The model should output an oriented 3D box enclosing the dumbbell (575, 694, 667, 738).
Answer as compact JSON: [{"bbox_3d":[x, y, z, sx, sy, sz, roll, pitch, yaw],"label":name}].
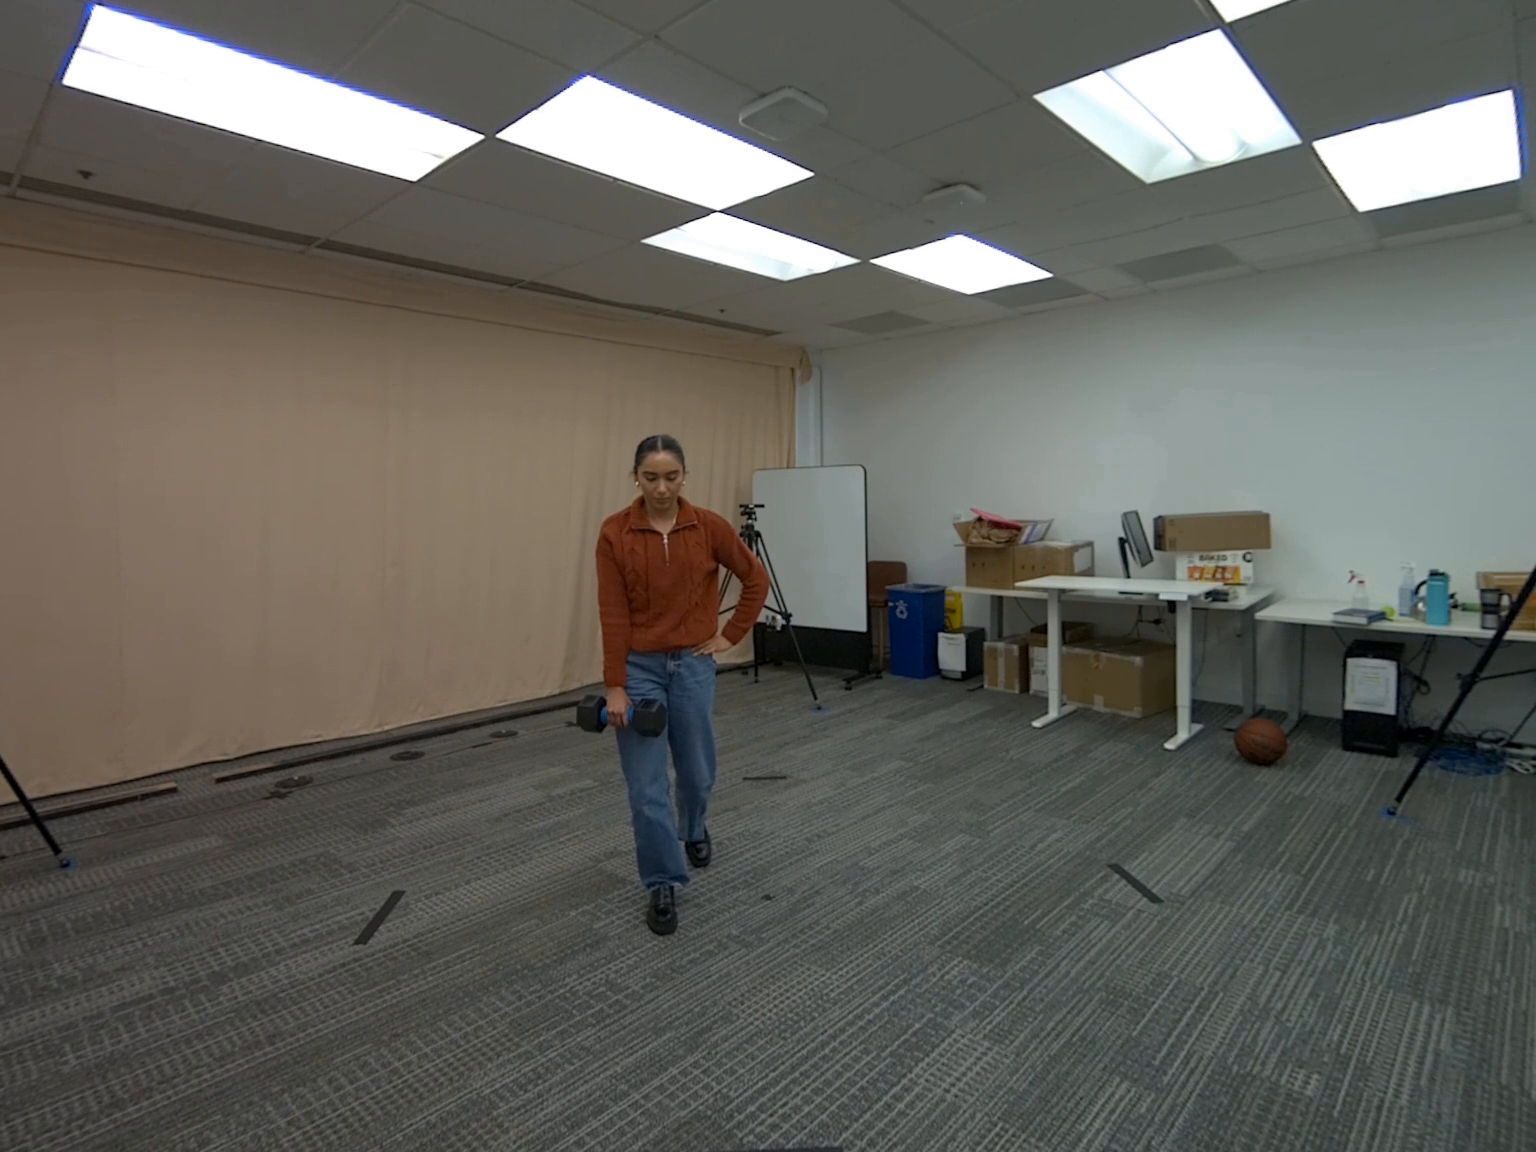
[{"bbox_3d":[-0.475,0.457,2.758,0.301,0.123,0.106,0,-5,25],"label":"dumbbell"}]
